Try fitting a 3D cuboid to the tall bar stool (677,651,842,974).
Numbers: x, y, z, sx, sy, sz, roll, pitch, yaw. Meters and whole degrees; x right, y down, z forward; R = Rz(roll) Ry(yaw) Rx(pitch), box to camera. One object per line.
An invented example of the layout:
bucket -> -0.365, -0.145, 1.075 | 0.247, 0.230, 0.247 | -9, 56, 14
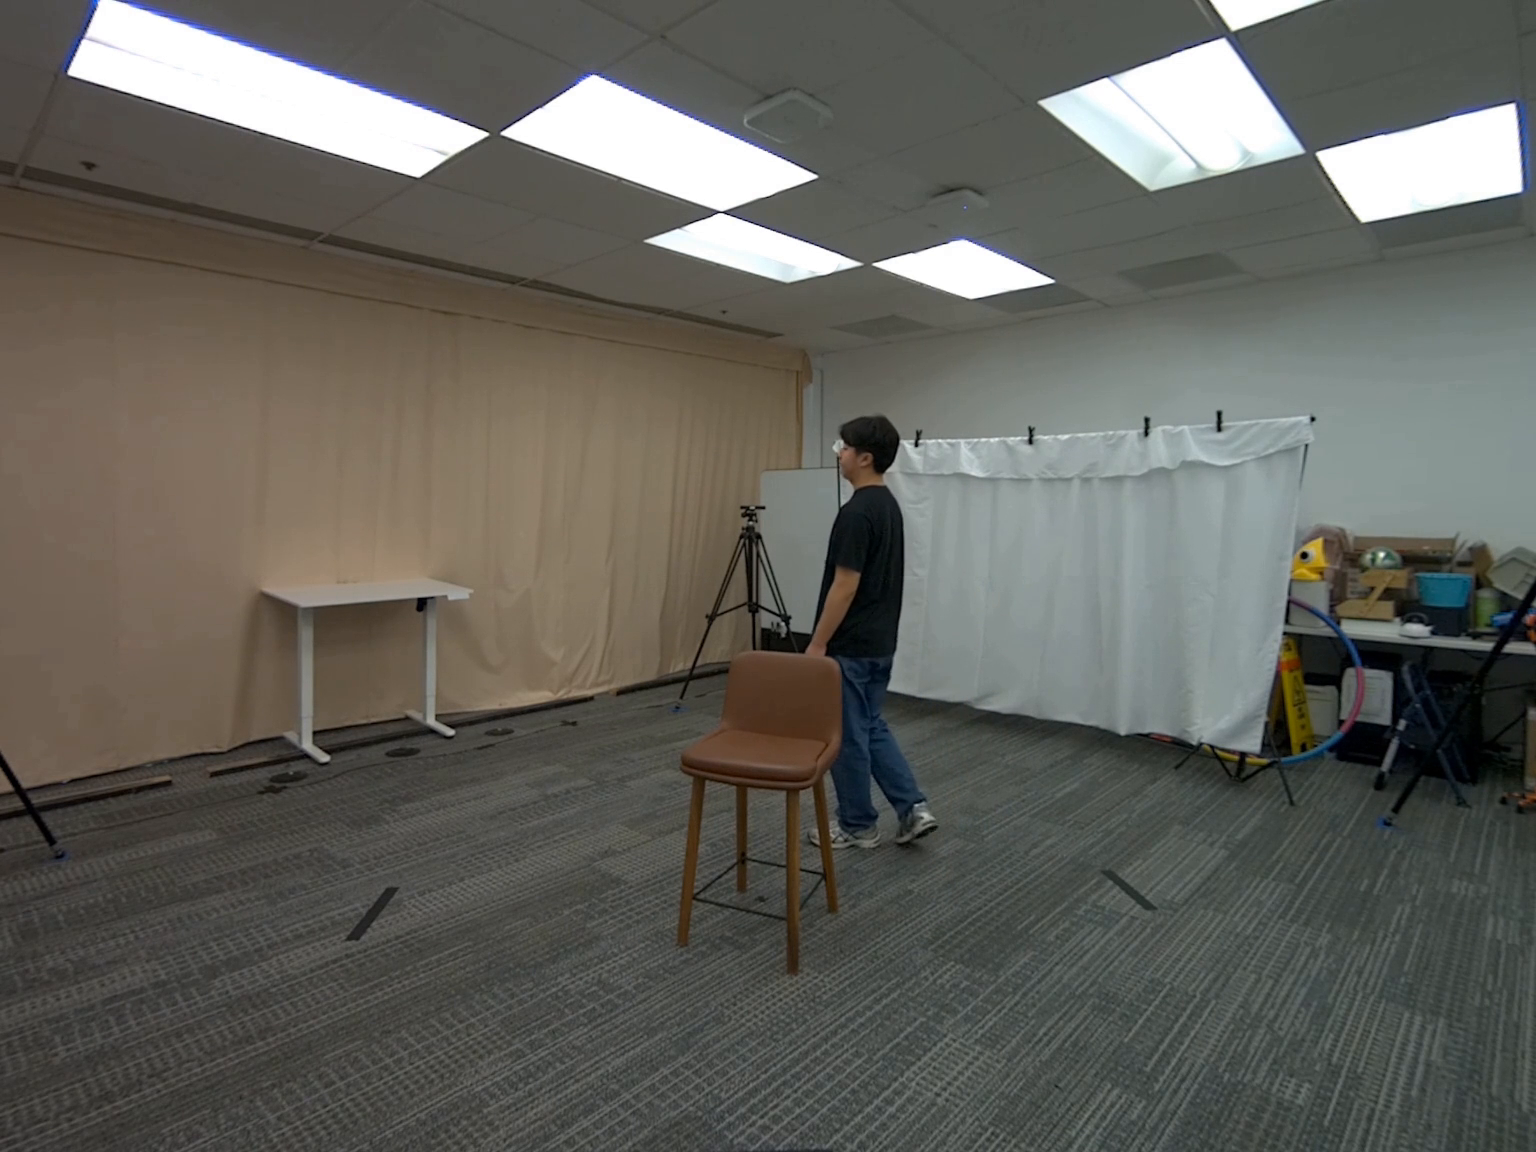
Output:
tall bar stool -> -0.011, 0.727, 2.762 | 0.469, 0.889, 0.456 | 2, 2, 26
